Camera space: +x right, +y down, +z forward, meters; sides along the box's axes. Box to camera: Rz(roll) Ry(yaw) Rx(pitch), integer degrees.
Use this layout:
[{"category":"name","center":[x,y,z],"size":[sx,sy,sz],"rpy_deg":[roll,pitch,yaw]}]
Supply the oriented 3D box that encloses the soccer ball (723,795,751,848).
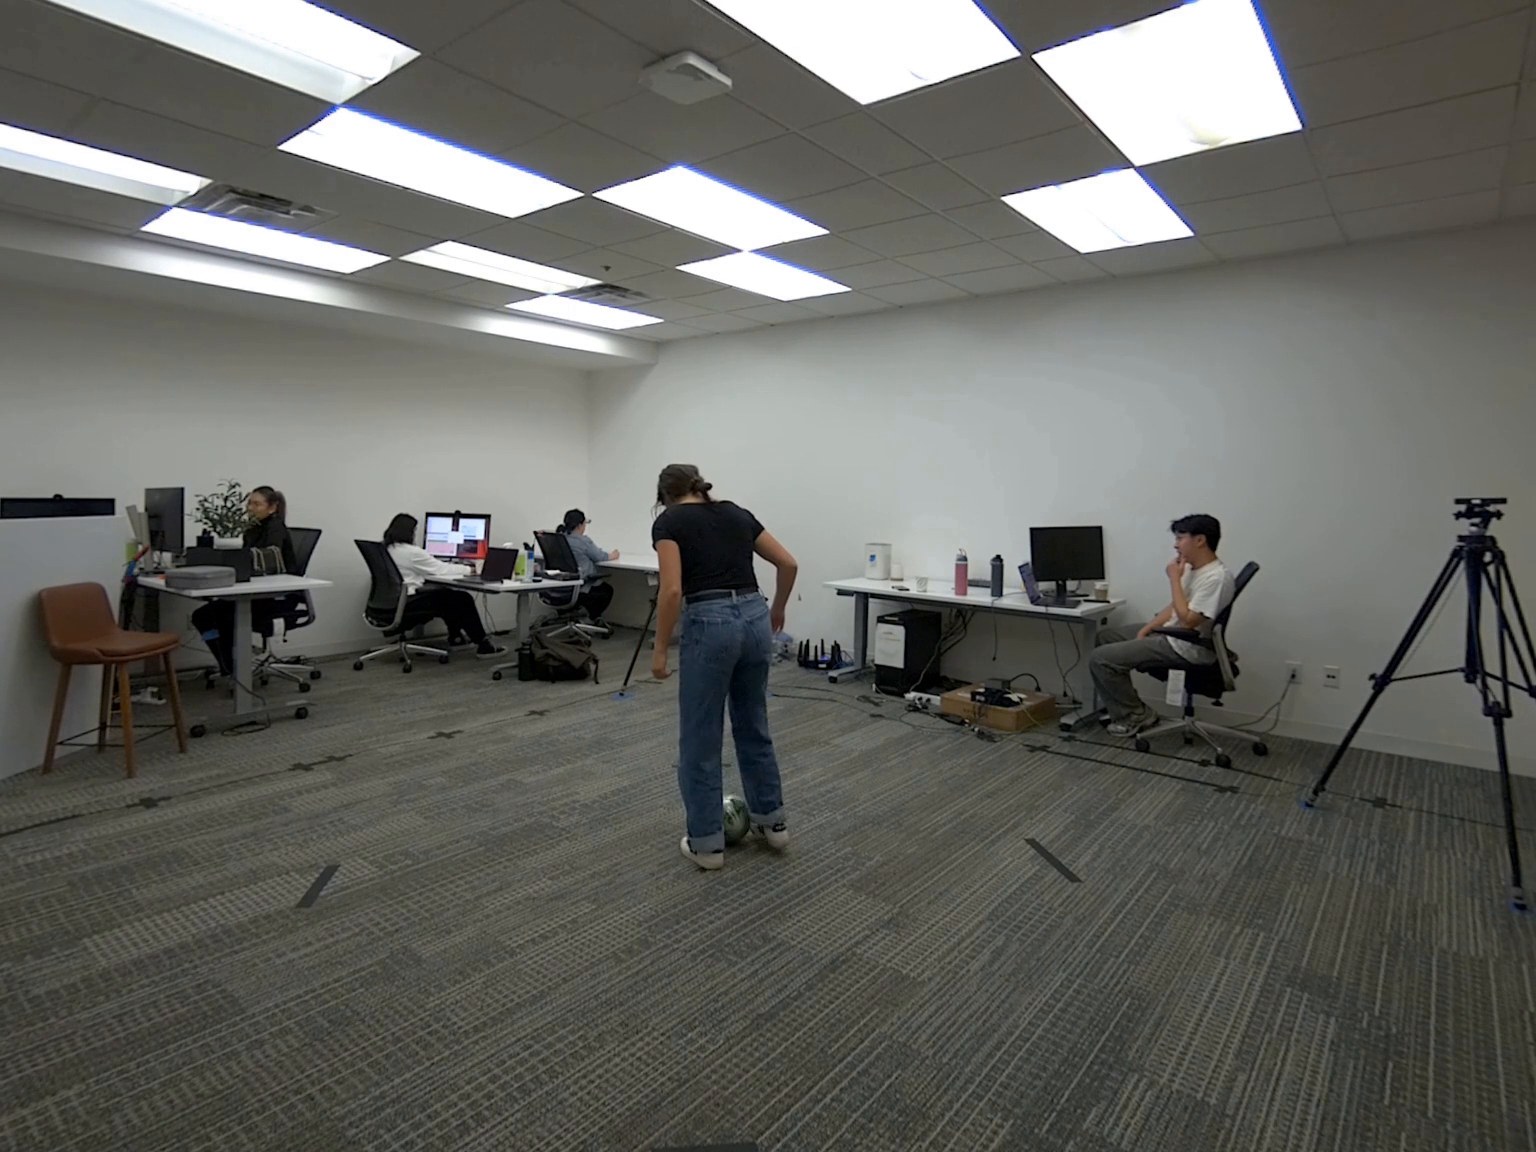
[{"category":"soccer ball","center":[-0.161,0.942,3.372],"size":[0.187,0.187,0.188],"rpy_deg":[1,4,-2]}]
